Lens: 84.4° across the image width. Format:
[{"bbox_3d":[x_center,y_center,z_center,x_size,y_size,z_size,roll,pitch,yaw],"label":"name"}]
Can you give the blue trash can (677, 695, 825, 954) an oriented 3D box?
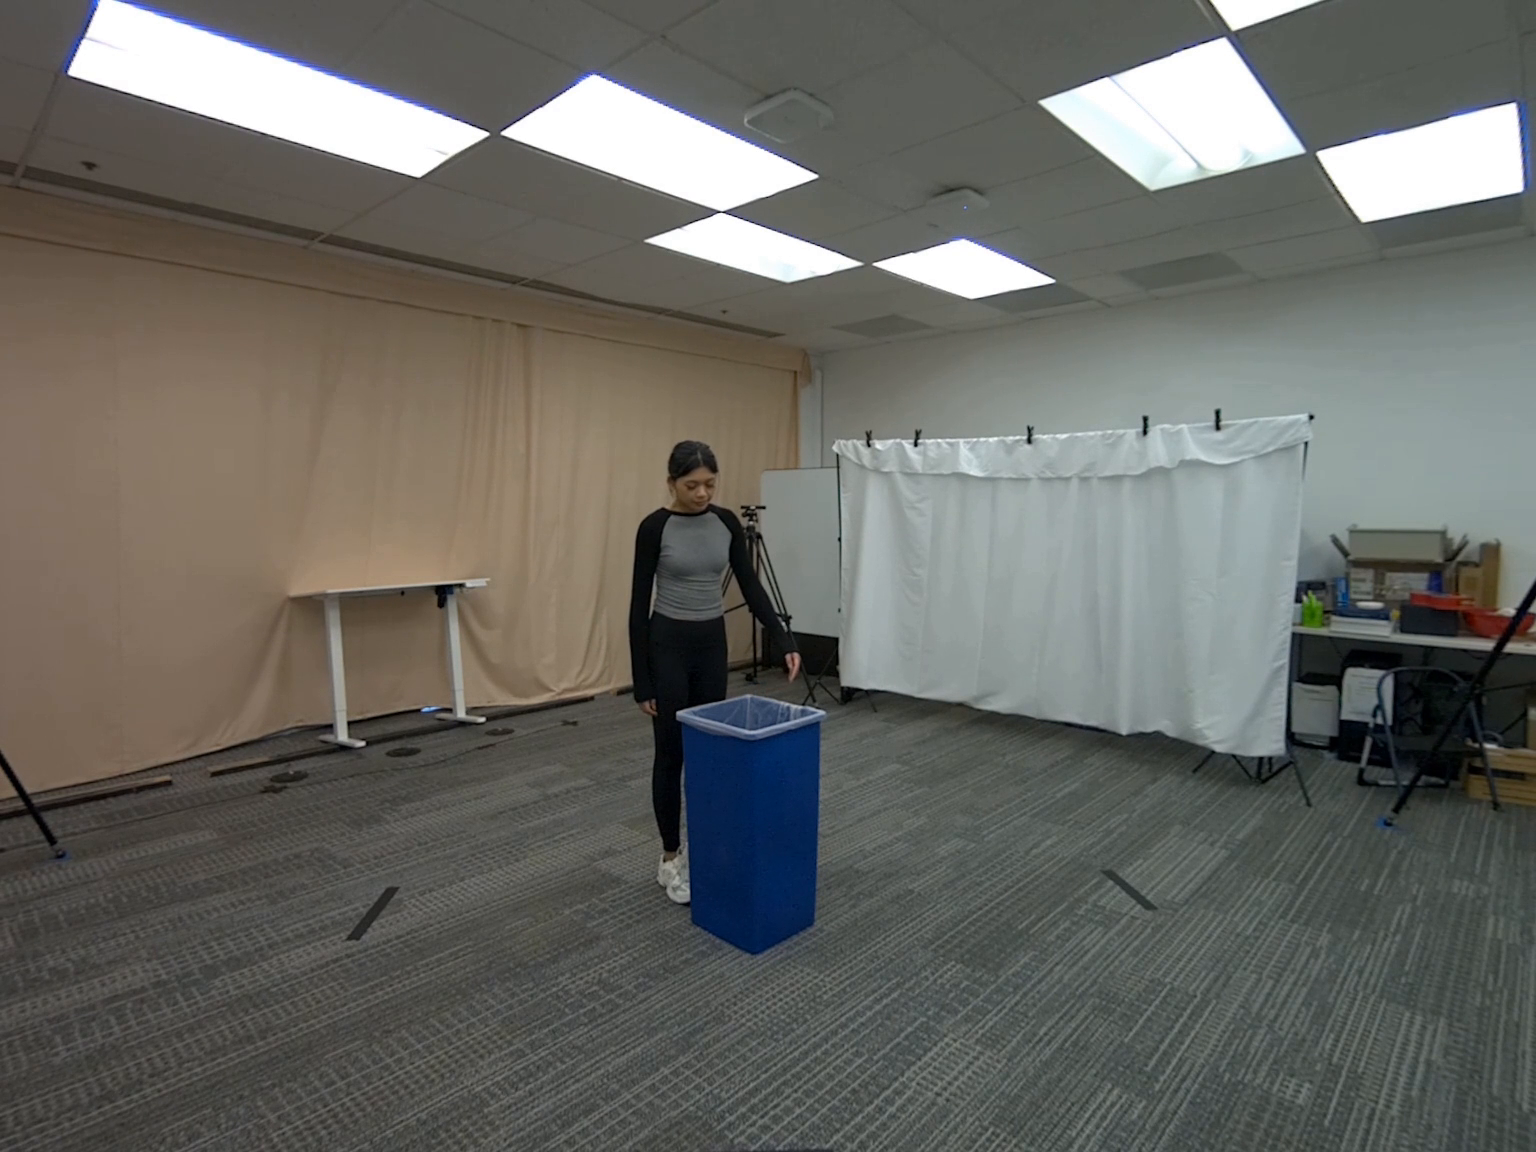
[{"bbox_3d":[-0.049,0.804,2.784,0.390,0.712,0.362,3,4,45],"label":"blue trash can"}]
